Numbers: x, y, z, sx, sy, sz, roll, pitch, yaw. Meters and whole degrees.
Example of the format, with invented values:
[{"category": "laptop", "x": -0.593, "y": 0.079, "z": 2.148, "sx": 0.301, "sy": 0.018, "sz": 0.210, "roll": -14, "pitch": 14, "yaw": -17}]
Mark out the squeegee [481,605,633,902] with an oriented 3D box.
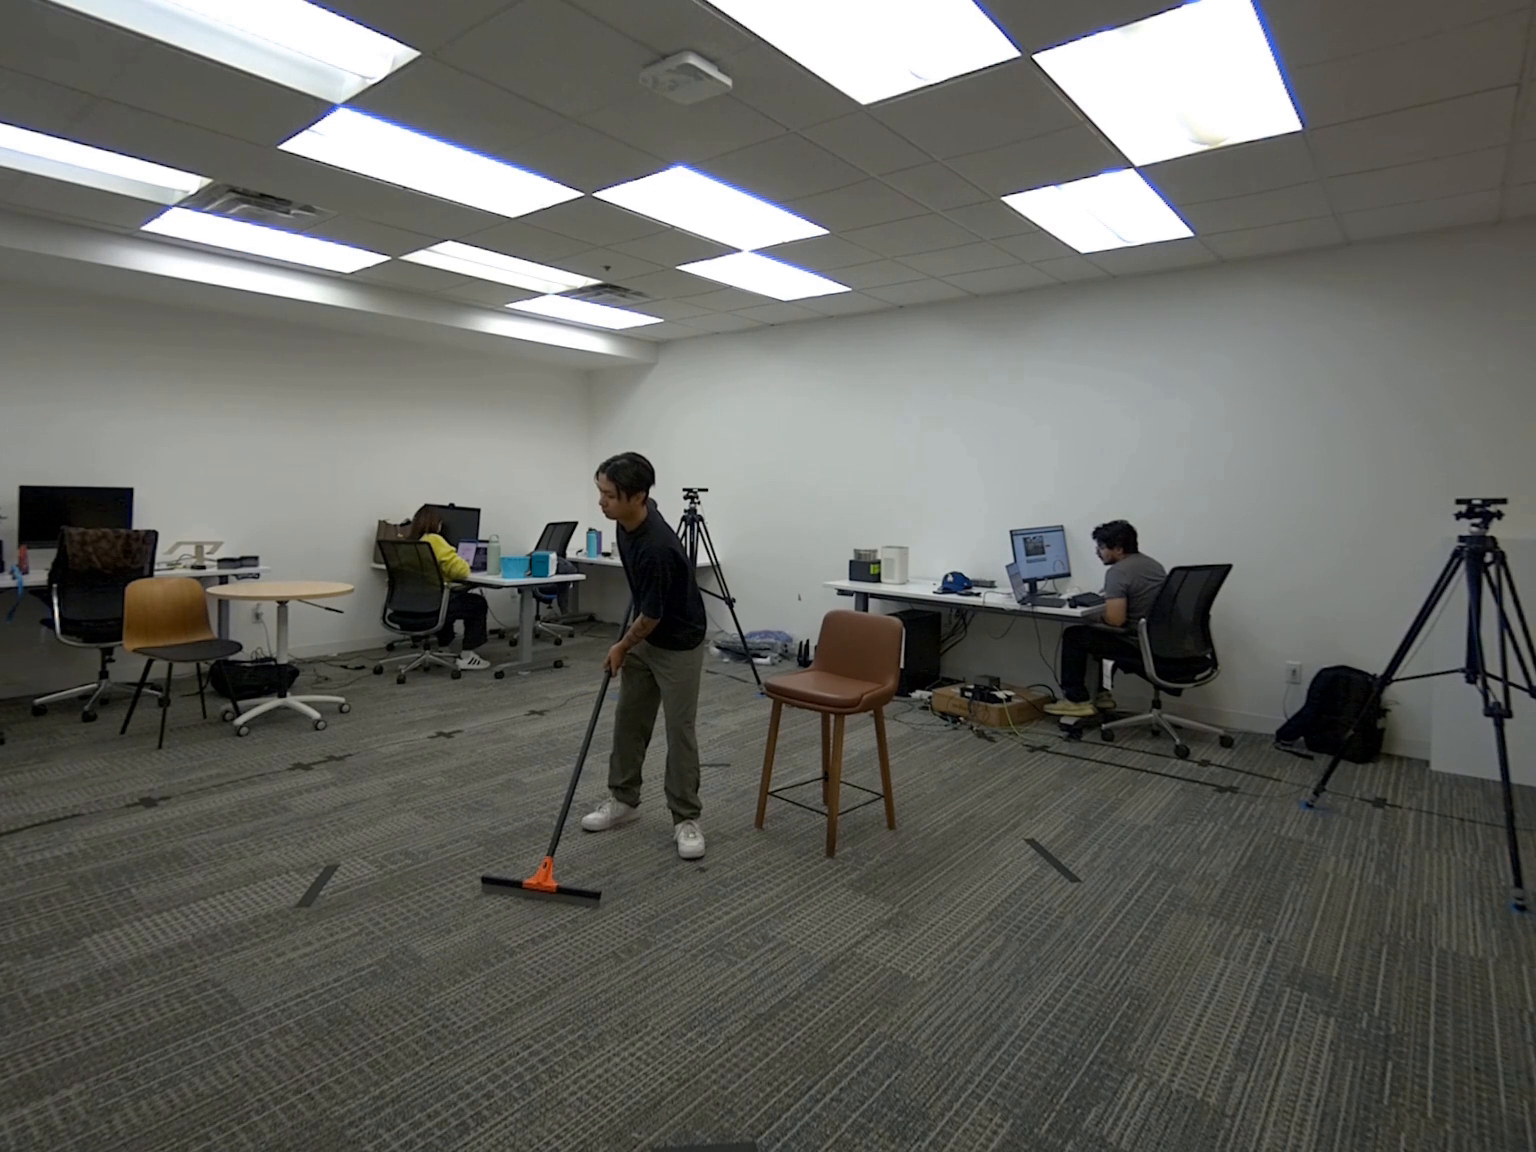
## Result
[{"category": "squeegee", "x": -0.681, "y": 0.484, "z": 3.345, "sx": 0.443, "sy": 1.573, "sz": 0.051, "roll": -2, "pitch": -43, "yaw": 10}]
